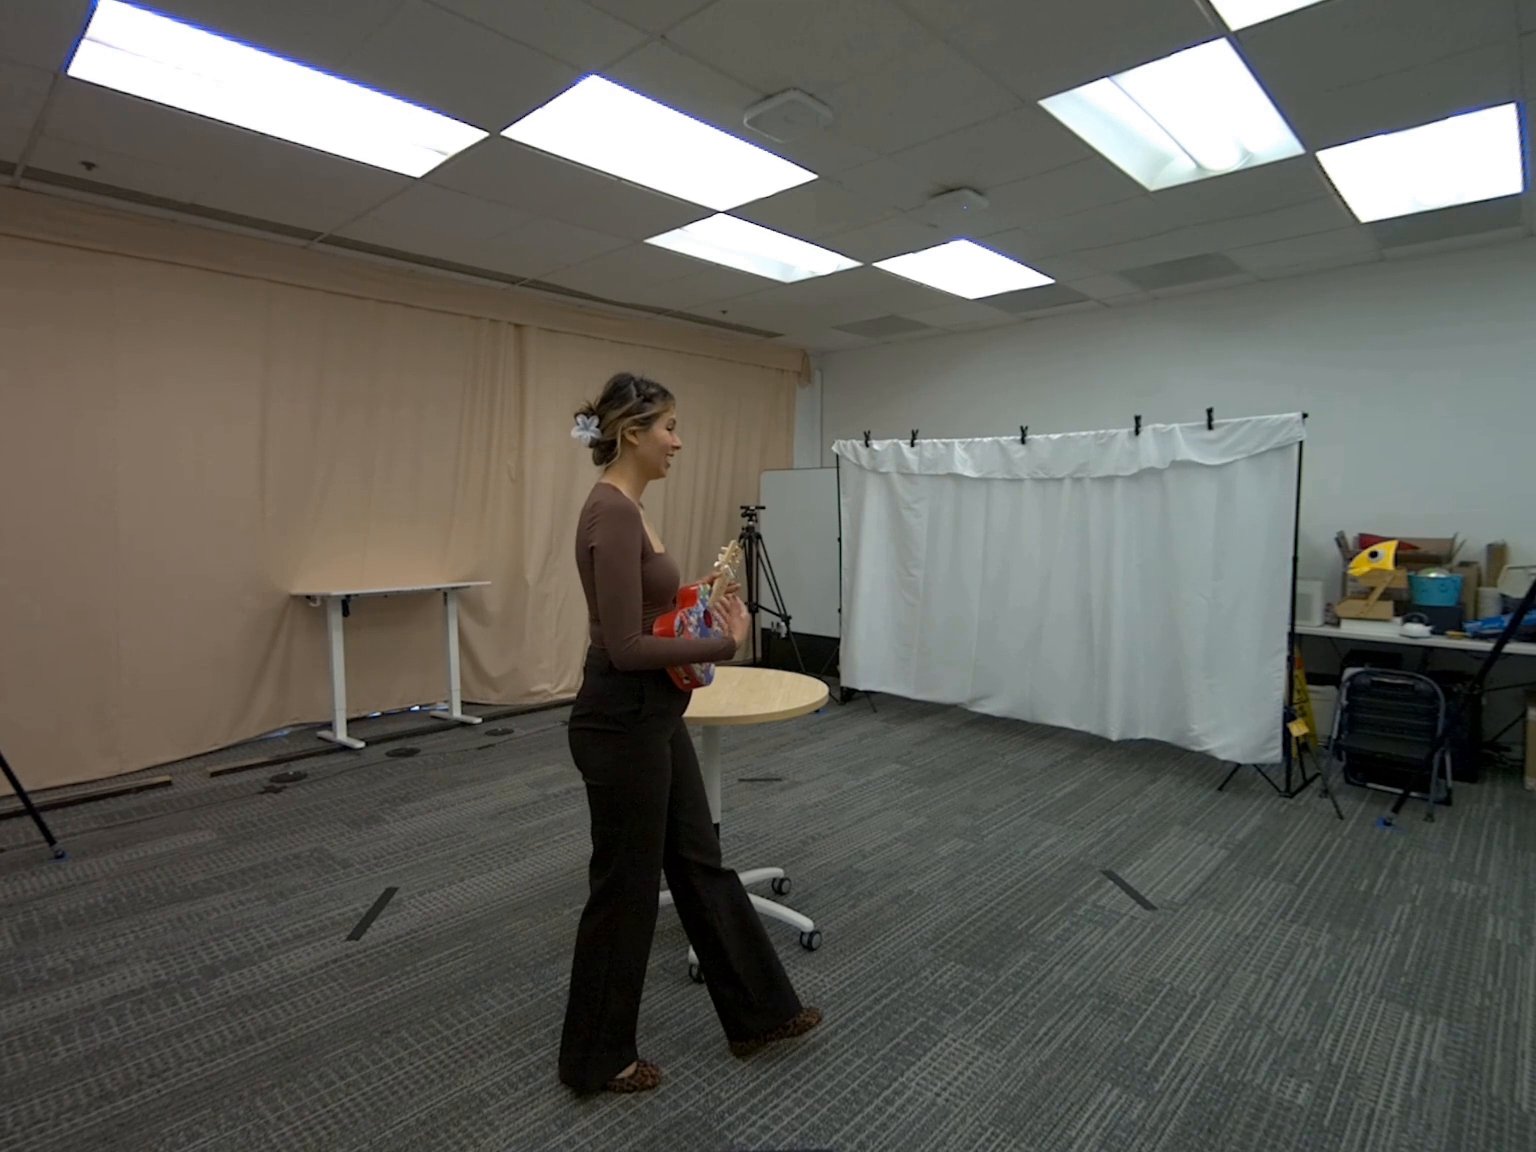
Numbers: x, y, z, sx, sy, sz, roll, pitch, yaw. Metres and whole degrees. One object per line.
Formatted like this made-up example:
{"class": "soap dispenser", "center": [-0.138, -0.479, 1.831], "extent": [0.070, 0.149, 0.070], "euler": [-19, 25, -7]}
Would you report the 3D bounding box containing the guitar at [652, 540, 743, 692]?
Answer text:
{"class": "guitar", "center": [-0.129, 0.090, 2.103], "extent": [0.072, 0.190, 0.497], "euler": [-17, 20, 25]}
